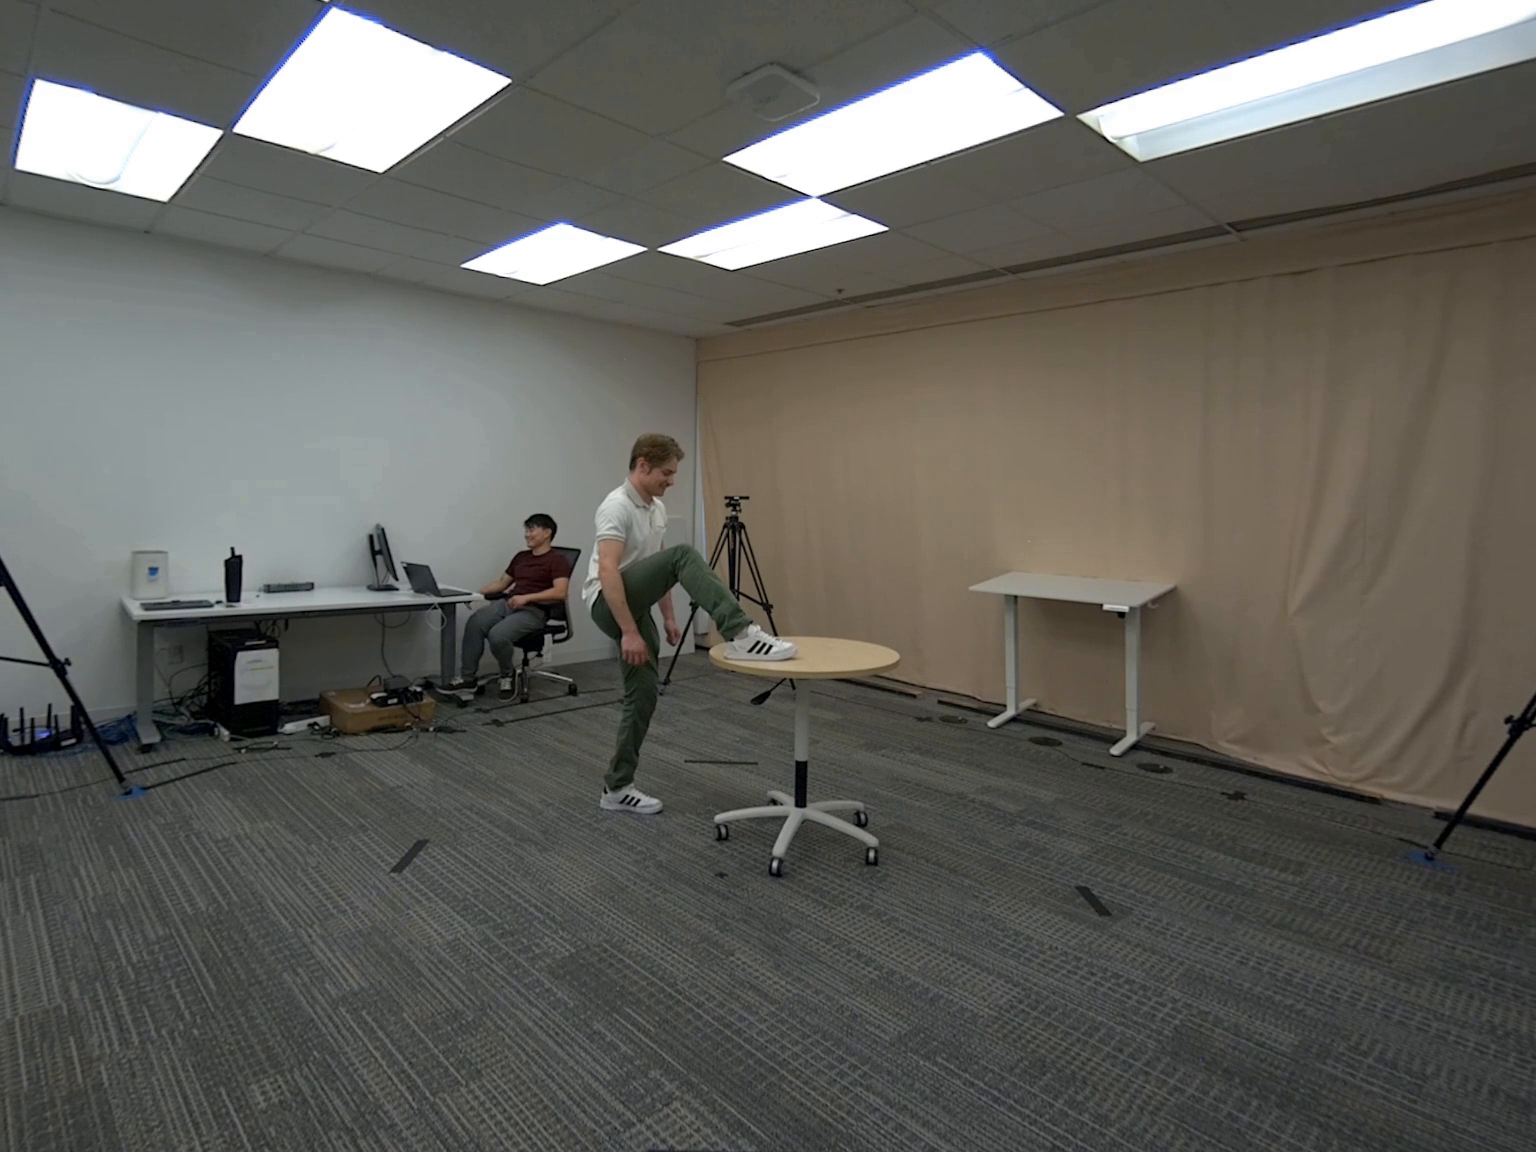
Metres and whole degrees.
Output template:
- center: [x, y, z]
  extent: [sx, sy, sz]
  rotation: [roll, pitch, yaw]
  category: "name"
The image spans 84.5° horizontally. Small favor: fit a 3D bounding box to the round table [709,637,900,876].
- center: [0.137, 0.699, 3.417]
  extent: [0.763, 0.792, 0.766]
  rotation: [1, 4, -1]
  category: "round table"
